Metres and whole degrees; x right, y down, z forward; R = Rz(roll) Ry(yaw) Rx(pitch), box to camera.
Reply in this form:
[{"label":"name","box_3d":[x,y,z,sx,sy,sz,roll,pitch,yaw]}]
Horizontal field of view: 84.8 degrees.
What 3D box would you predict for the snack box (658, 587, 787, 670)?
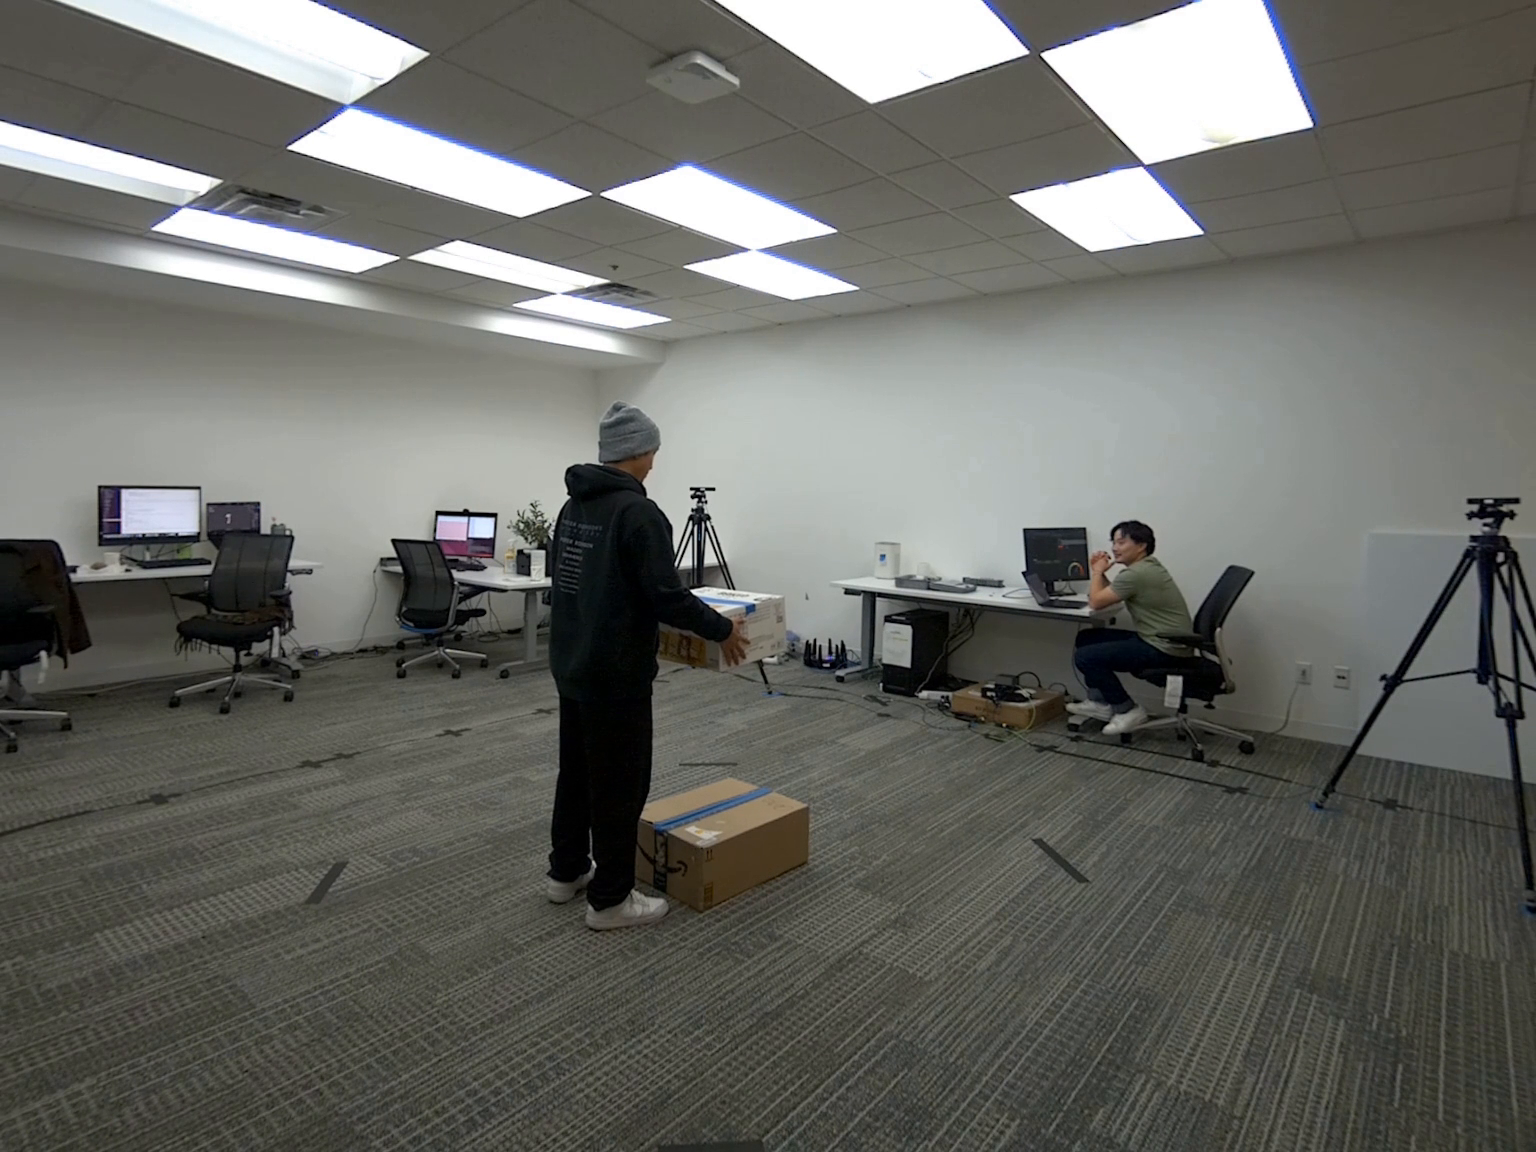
[{"label":"snack box","box_3d":[-0.208,0.179,3.055,0.419,0.204,0.331,5,12,44]}]
